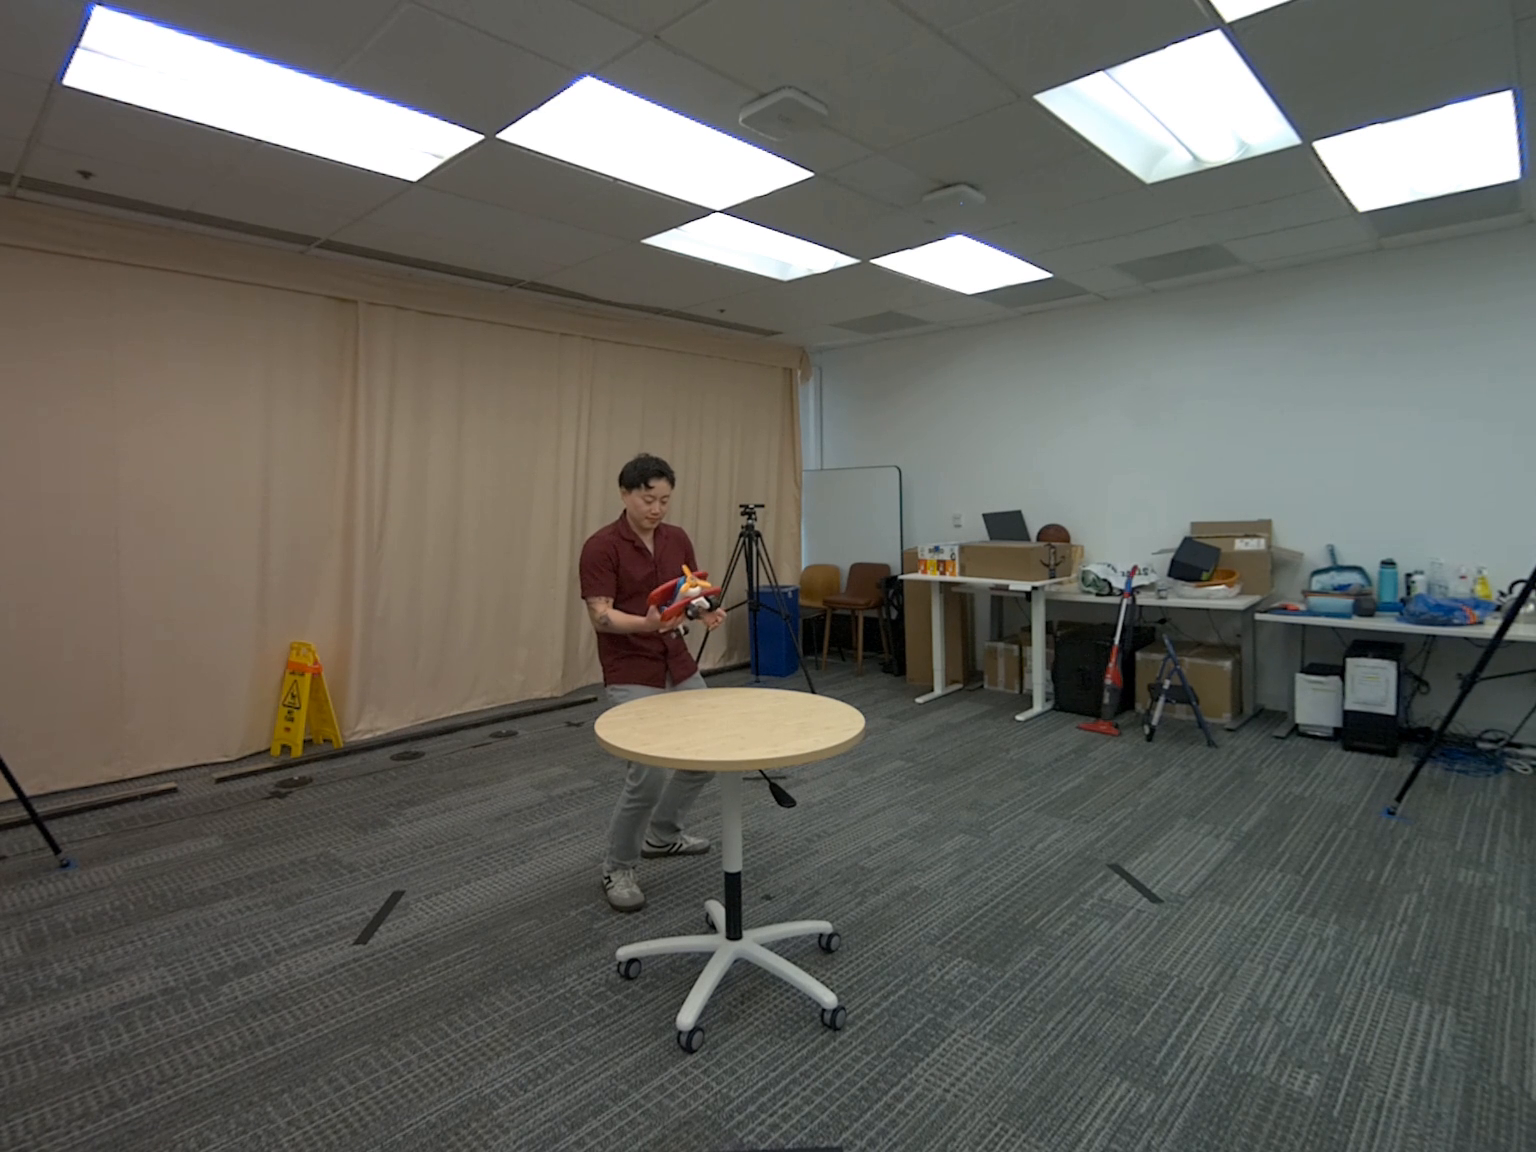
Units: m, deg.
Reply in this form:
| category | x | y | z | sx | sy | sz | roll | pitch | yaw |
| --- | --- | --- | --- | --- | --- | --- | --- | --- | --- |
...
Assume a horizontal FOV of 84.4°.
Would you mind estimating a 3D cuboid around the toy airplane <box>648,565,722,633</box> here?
| category | x | y | z | sx | sy | sz | roll | pitch | yaw |
| --- | --- | --- | --- | --- | --- | --- | --- | --- | --- |
| toy airplane | -0.293 | 0.091 | 2.855 | 0.262 | 0.158 | 0.245 | -34 | -11 | 21 |
